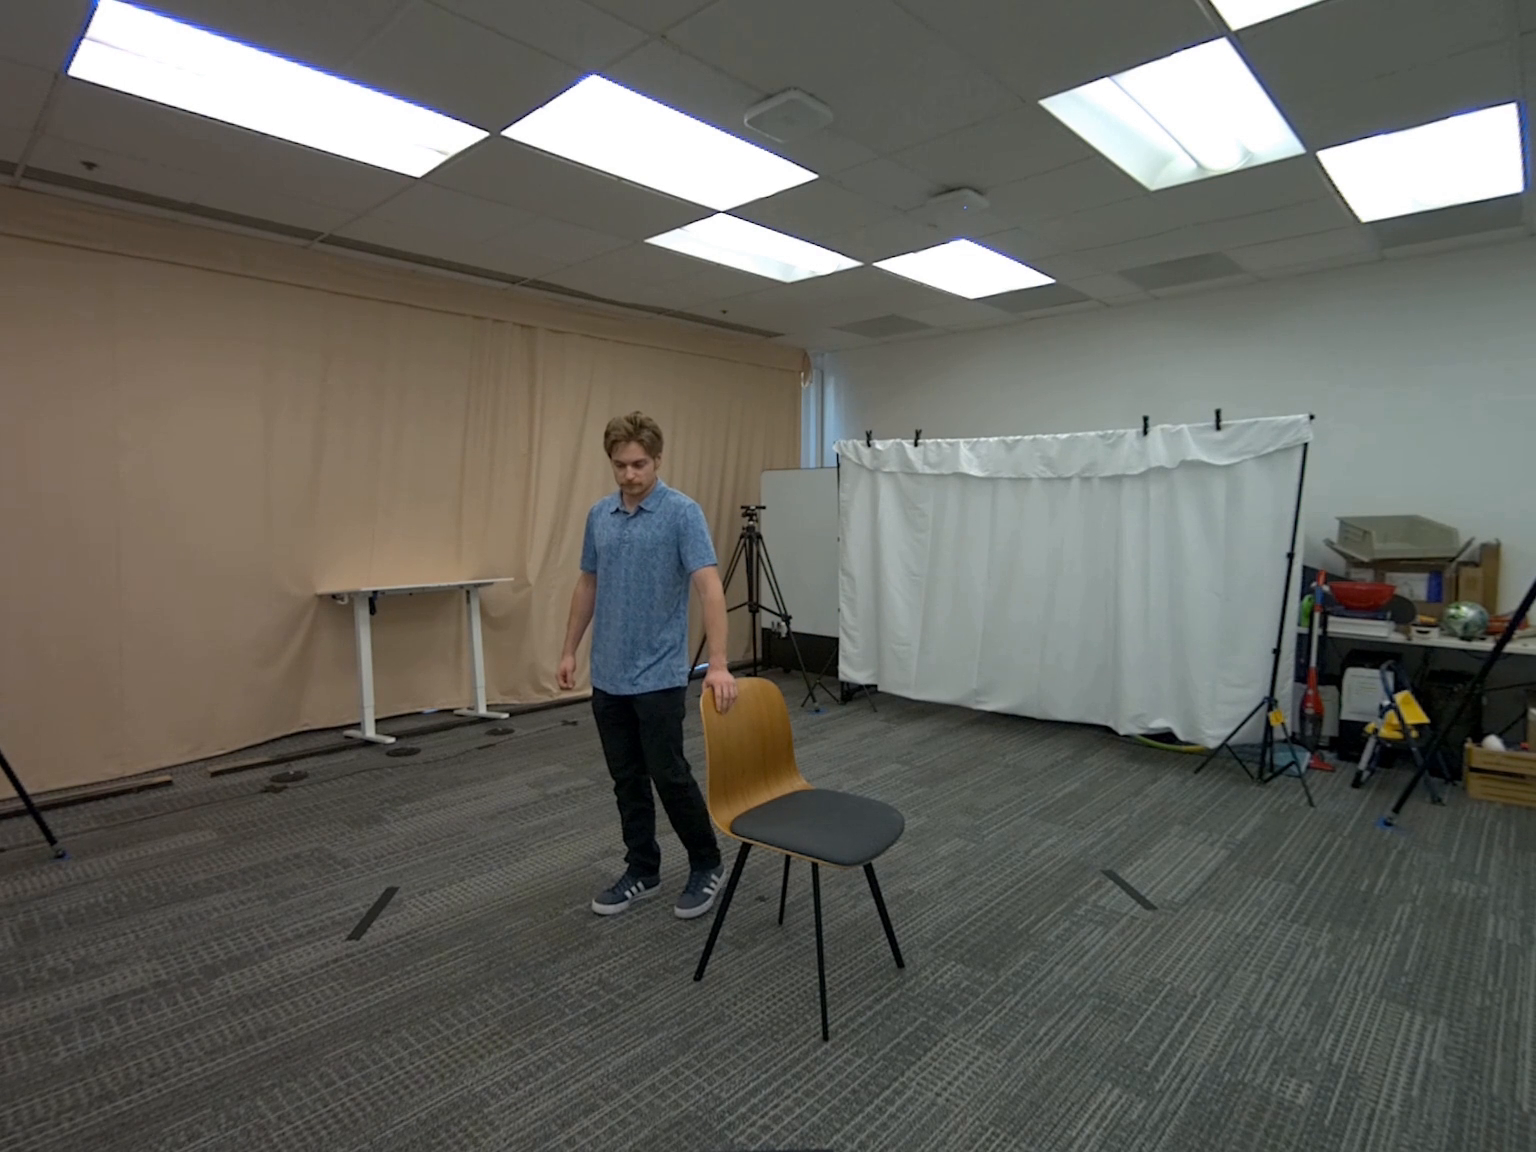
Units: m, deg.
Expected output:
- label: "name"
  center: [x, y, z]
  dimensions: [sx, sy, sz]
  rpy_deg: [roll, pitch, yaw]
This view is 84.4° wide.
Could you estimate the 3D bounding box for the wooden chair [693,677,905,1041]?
- label: "wooden chair"
  center: [0.109, 0.756, 2.471]
  dimensions: [0.539, 0.877, 0.464]
  rpy_deg: [-3, 0, 37]
